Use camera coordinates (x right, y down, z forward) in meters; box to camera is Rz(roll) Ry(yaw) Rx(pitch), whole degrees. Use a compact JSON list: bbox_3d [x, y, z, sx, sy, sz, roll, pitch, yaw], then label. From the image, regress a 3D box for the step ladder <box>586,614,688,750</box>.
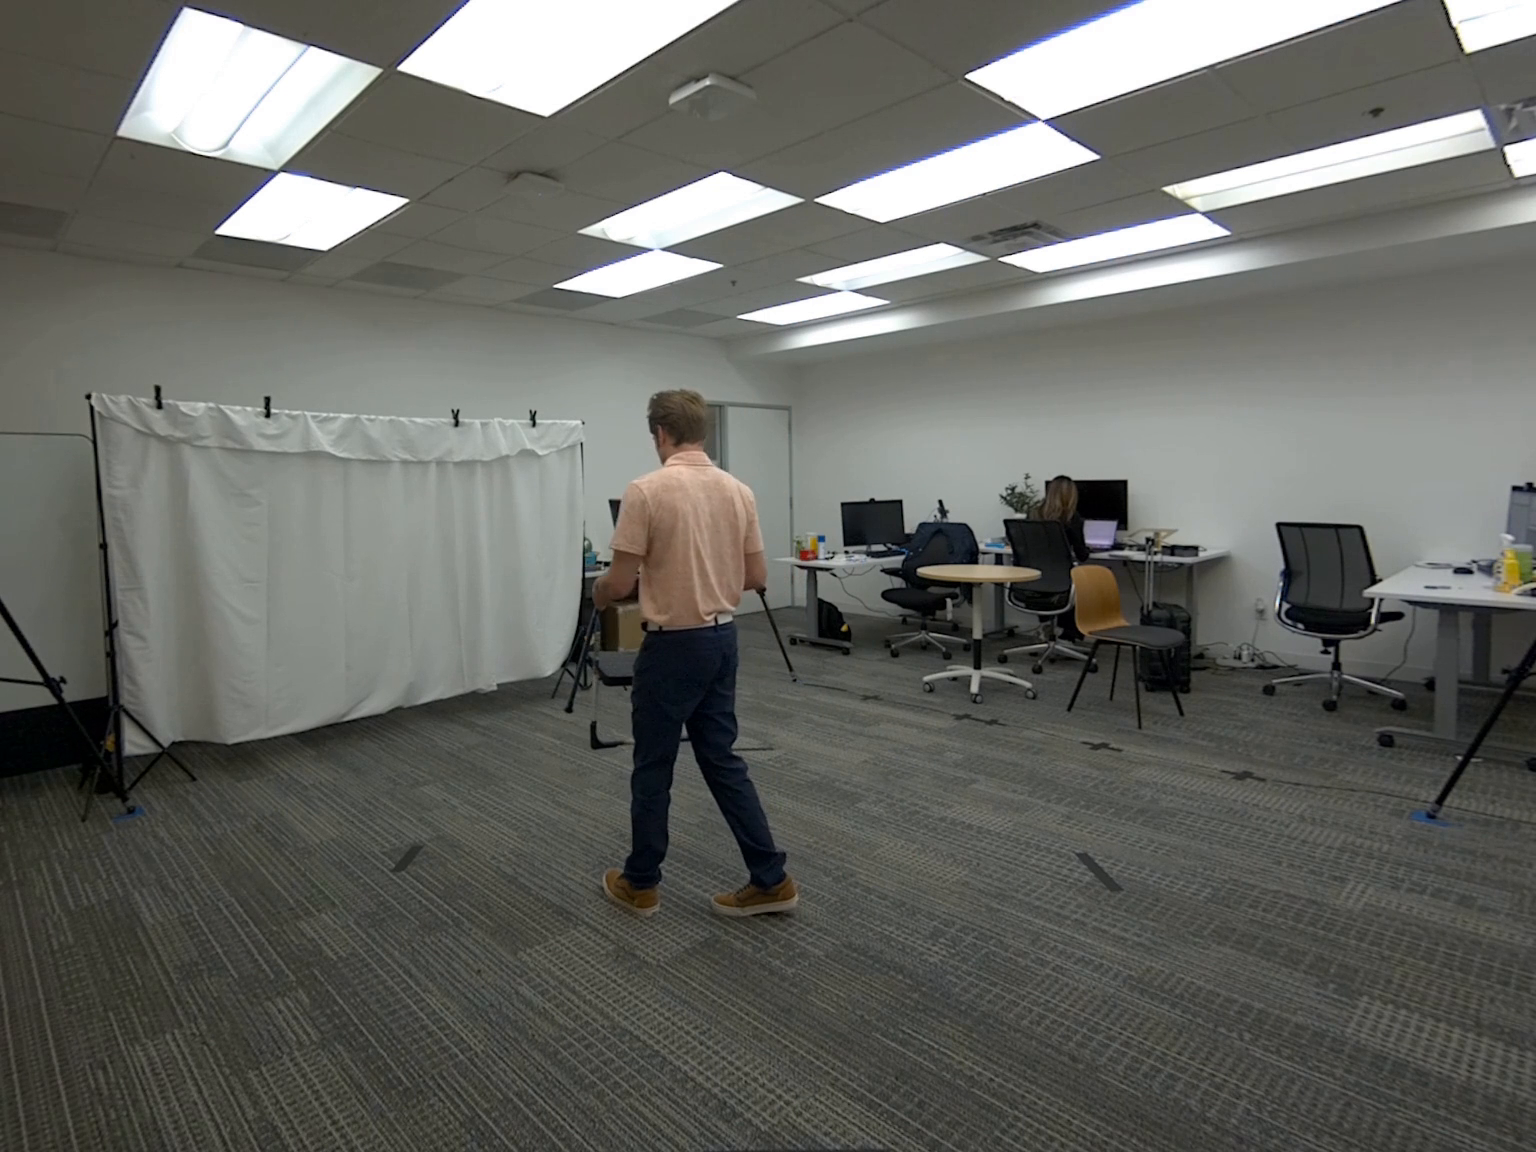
[{"bbox_3d":[-0.461,0.267,3.118,0.420,0.600,0.361,1,14,-30],"label":"step ladder"}]
